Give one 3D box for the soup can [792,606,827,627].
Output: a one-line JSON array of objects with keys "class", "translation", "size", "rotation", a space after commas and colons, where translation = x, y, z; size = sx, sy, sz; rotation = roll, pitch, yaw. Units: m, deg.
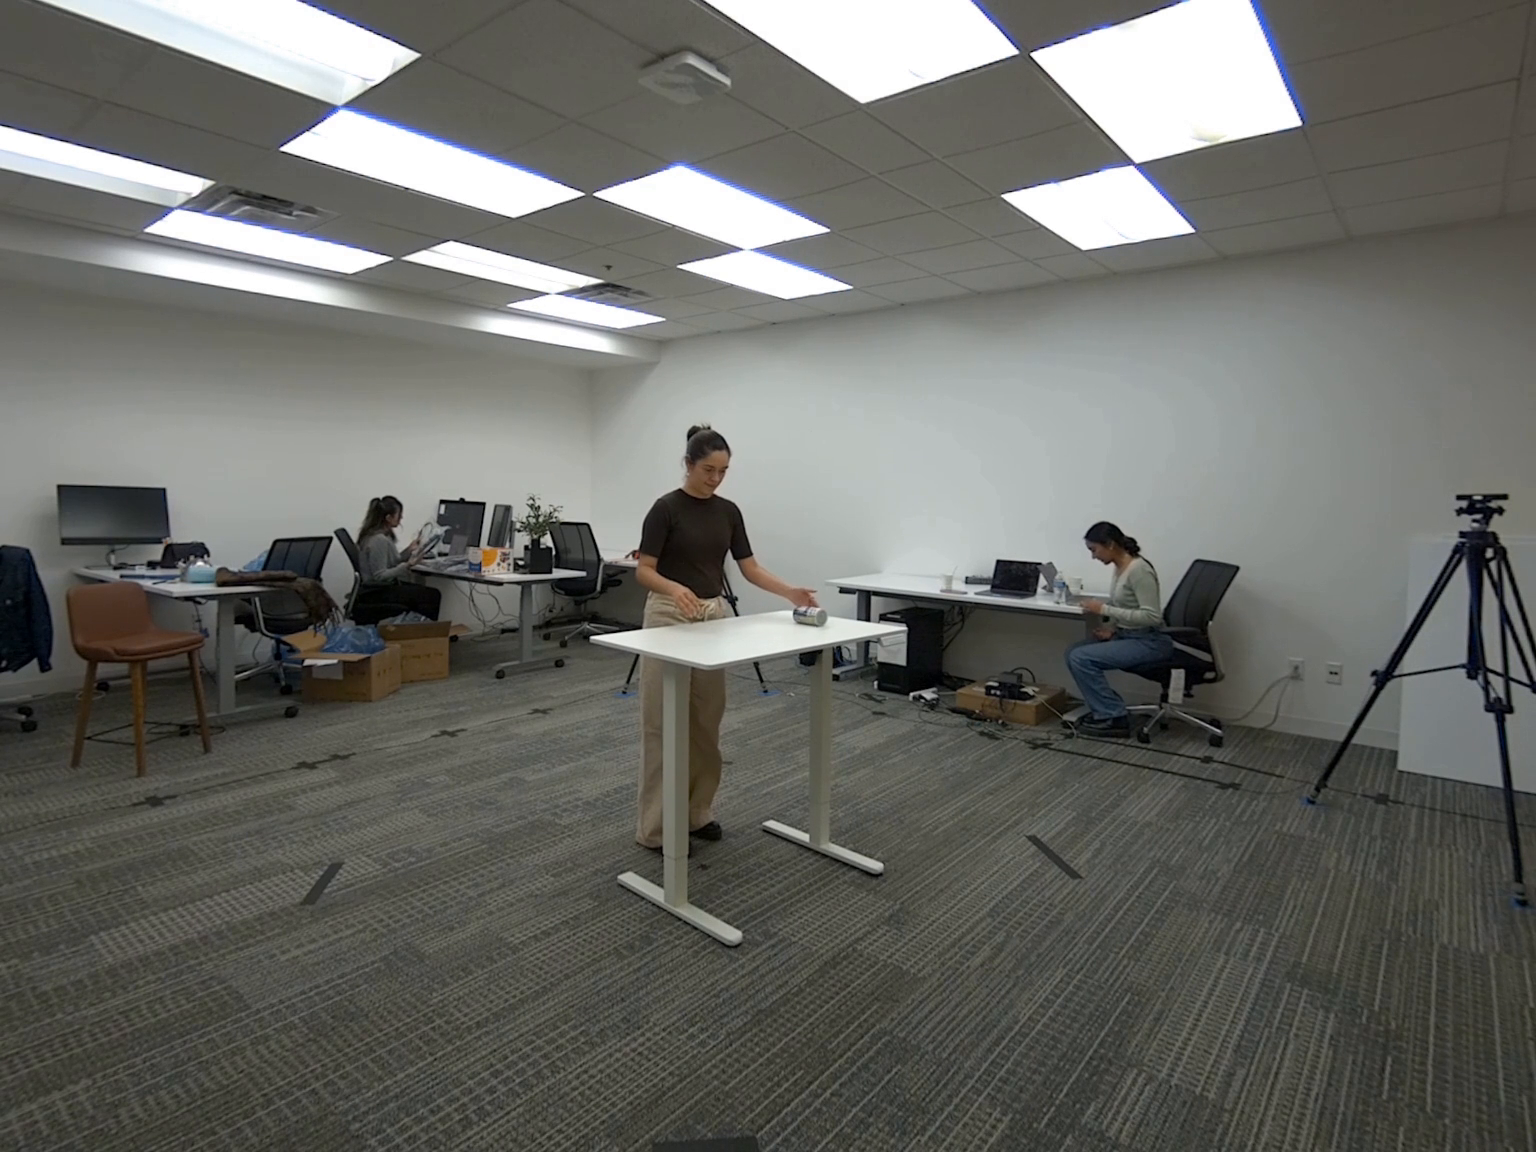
[{"class": "soup can", "translation": [0.144, 0.149, 3.180], "size": [0.065, 0.067, 0.125], "rotation": [-3, 6, -42]}]
